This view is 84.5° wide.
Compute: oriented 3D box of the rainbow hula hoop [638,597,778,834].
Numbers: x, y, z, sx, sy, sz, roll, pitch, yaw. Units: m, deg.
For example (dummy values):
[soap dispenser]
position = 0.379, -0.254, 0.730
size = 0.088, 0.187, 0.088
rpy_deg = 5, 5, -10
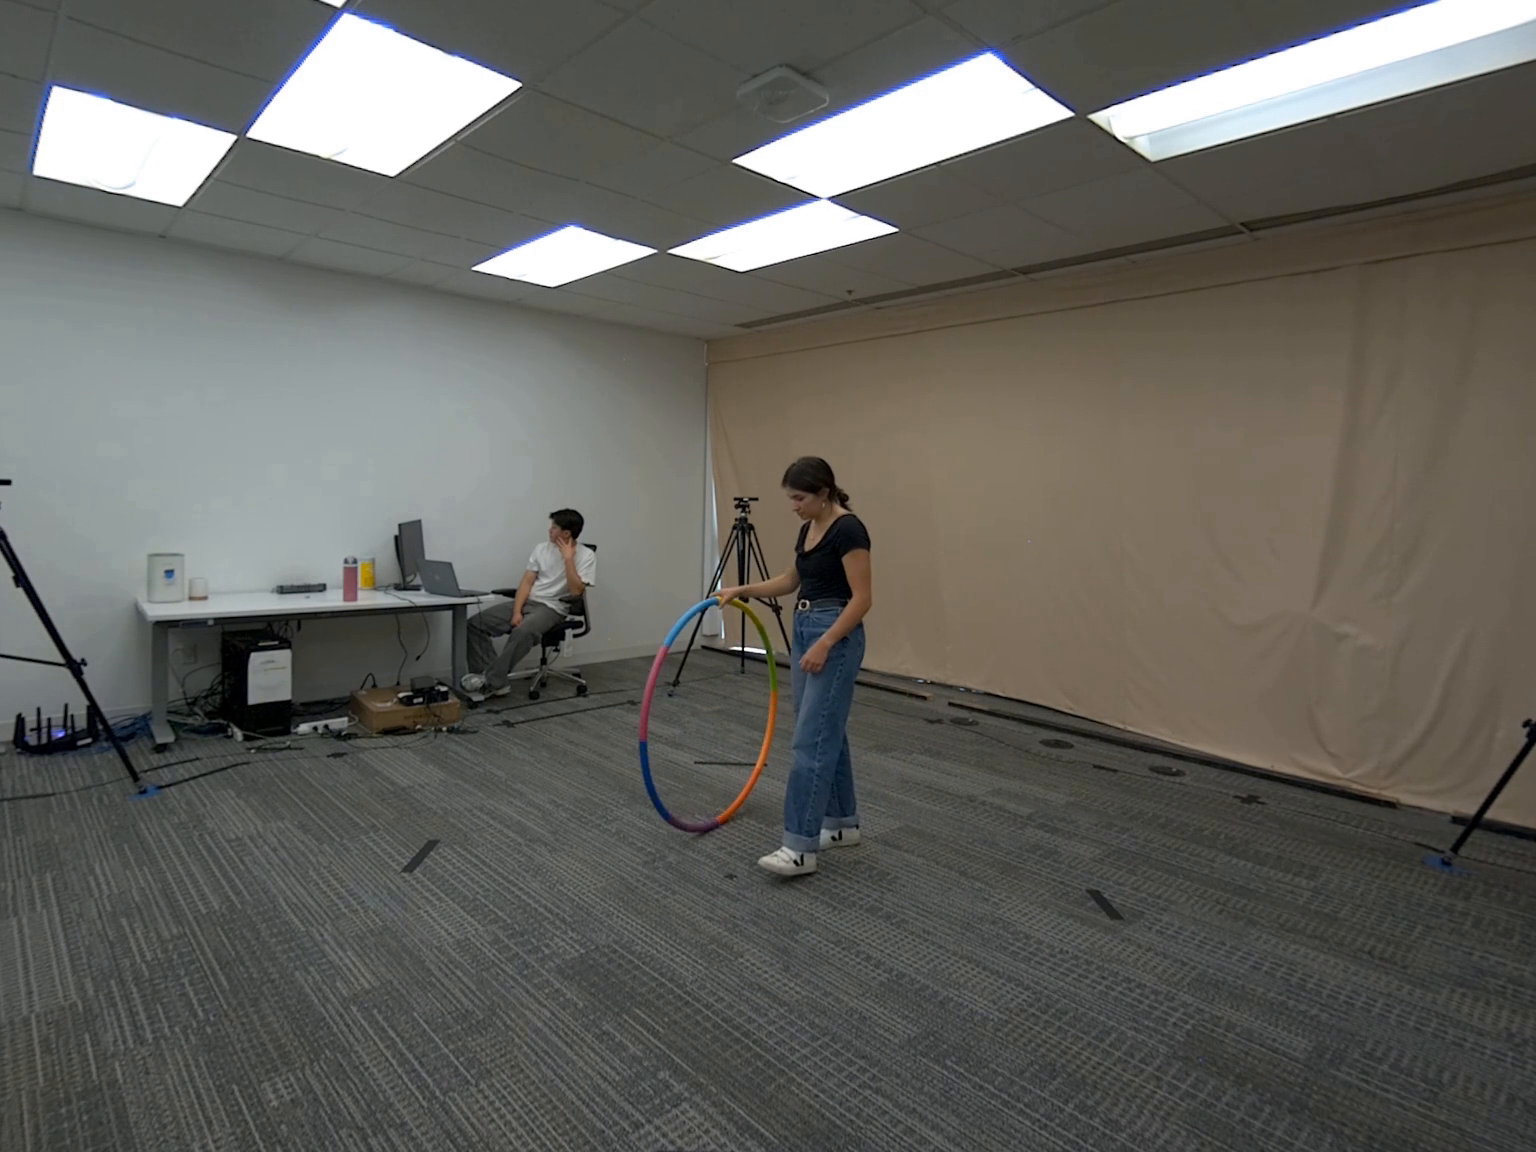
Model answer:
[rainbow hula hoop]
position = -0.223, 0.576, 3.537
size = 0.036, 0.976, 0.959
rpy_deg = 3, 4, 31
